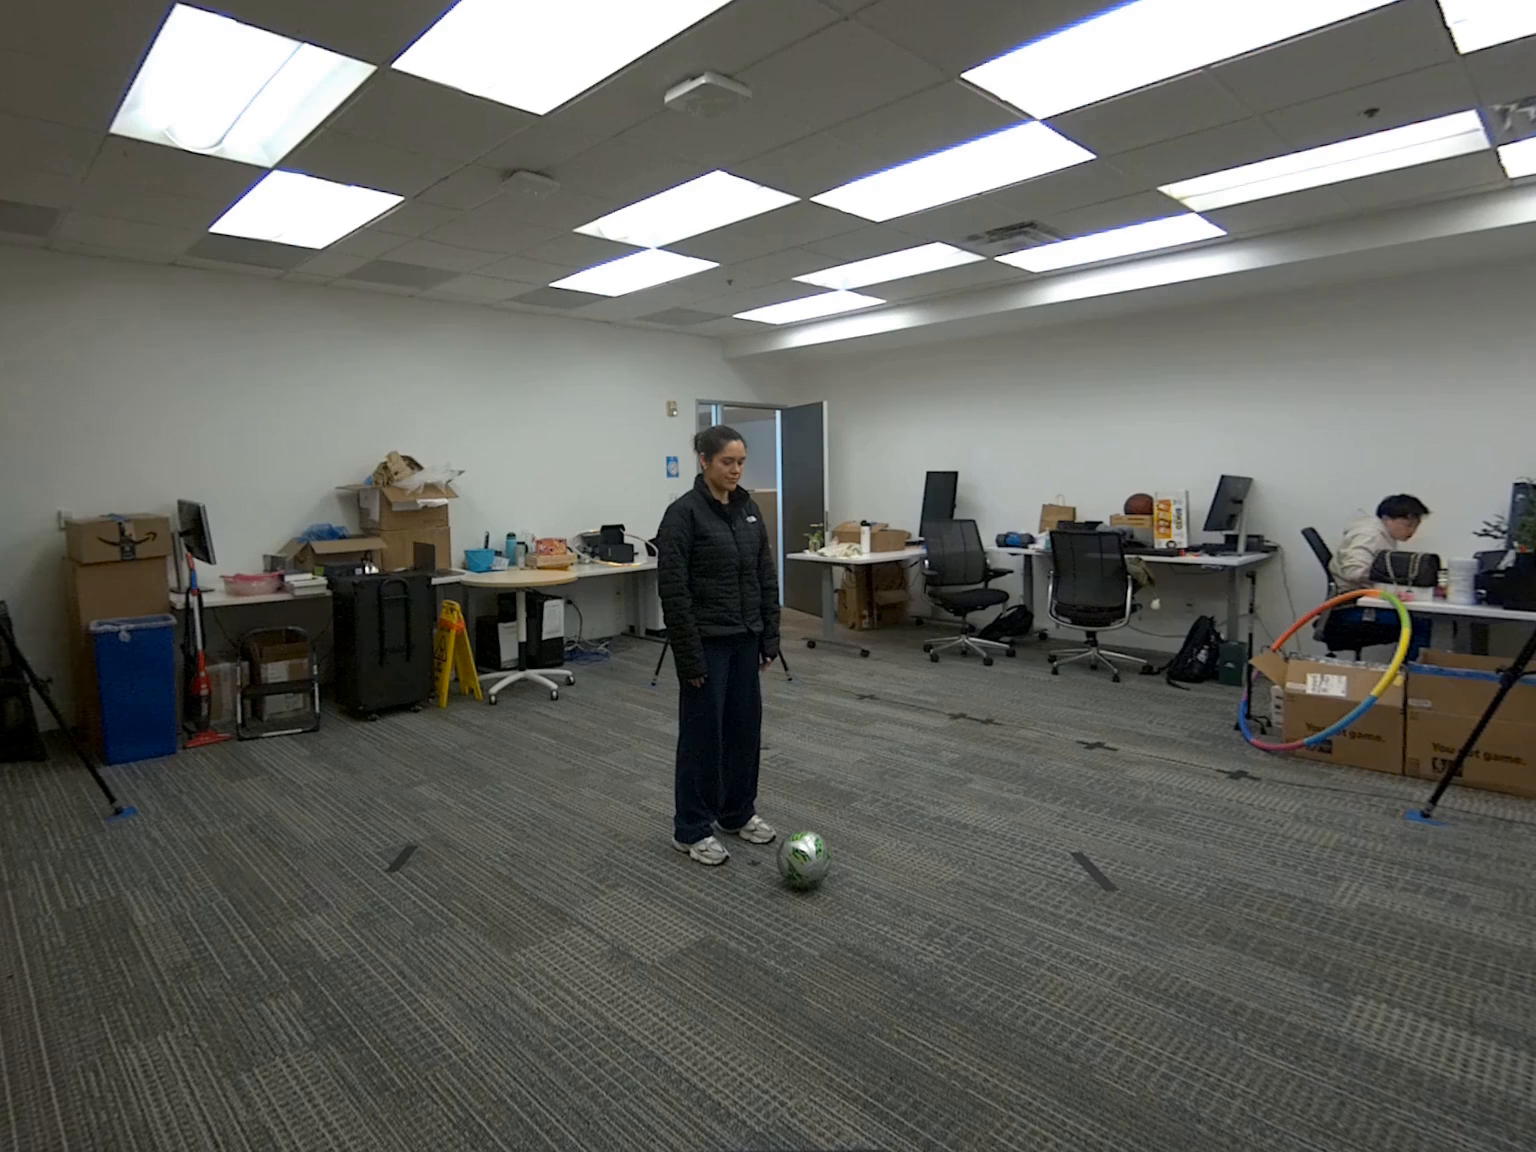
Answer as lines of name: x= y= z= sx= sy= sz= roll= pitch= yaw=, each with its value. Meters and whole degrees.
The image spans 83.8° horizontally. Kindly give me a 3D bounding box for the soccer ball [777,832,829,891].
soccer ball: x=0.131 y=0.966 z=2.920 sx=0.187 sy=0.187 sz=0.188 roll=-1 pitch=5 yaw=-2
